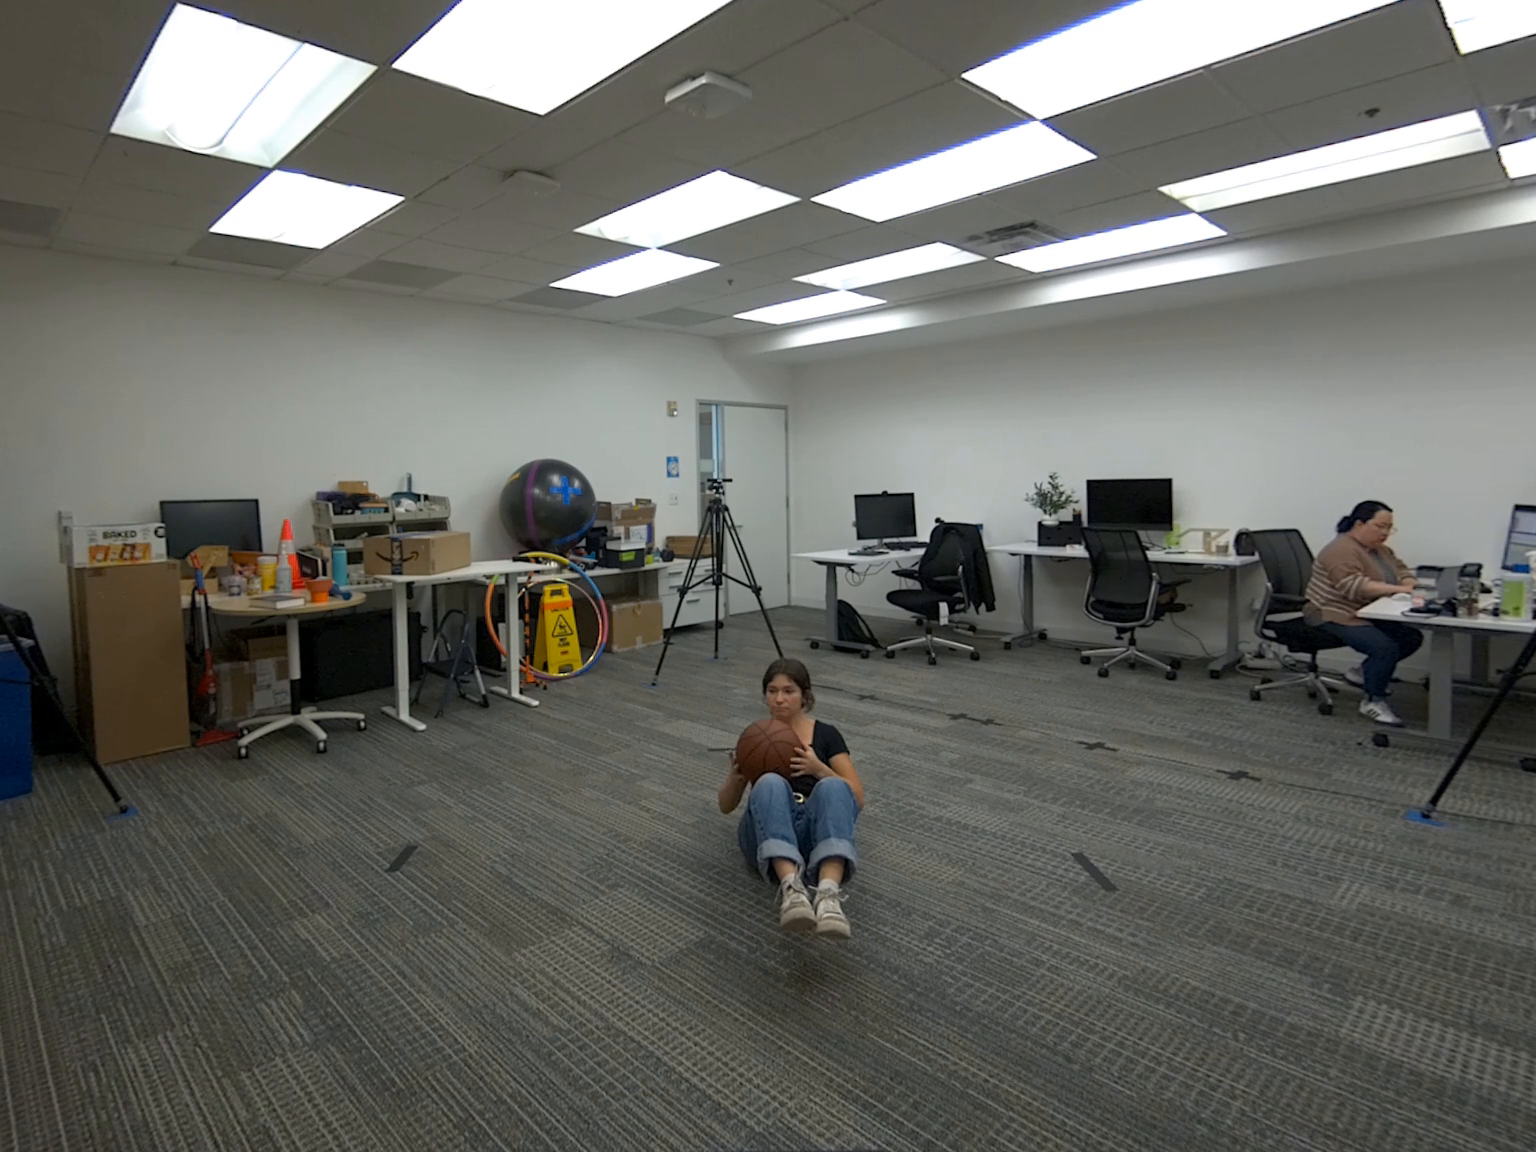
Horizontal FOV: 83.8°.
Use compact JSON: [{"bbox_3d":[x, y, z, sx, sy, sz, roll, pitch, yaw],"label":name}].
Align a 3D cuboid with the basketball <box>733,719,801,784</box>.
[{"bbox_3d":[0.016,0.640,3.067,0.236,0.235,0.237,-1,5,-2],"label":"basketball"}]
